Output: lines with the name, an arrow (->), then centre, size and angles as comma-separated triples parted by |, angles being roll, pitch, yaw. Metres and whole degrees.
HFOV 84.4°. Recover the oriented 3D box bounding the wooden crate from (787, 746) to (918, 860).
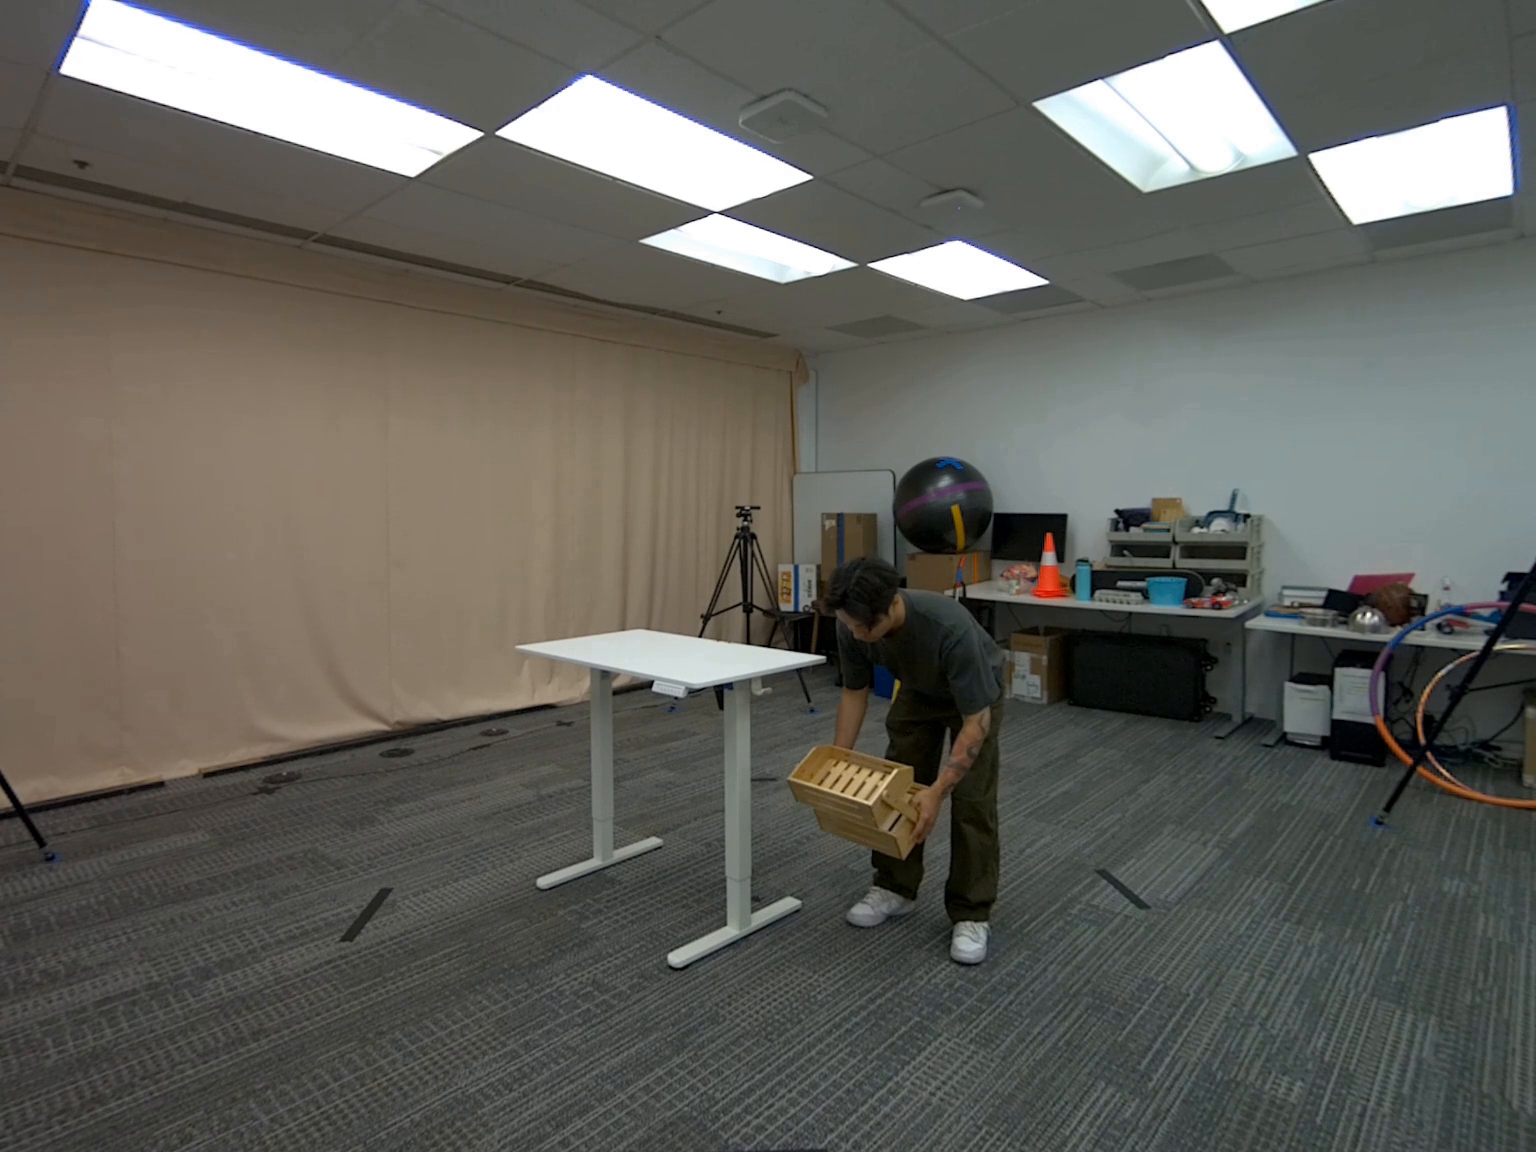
wooden crate -> 0.299, 0.641, 2.521 | 0.335, 0.267, 0.298 | 4, 34, 43
